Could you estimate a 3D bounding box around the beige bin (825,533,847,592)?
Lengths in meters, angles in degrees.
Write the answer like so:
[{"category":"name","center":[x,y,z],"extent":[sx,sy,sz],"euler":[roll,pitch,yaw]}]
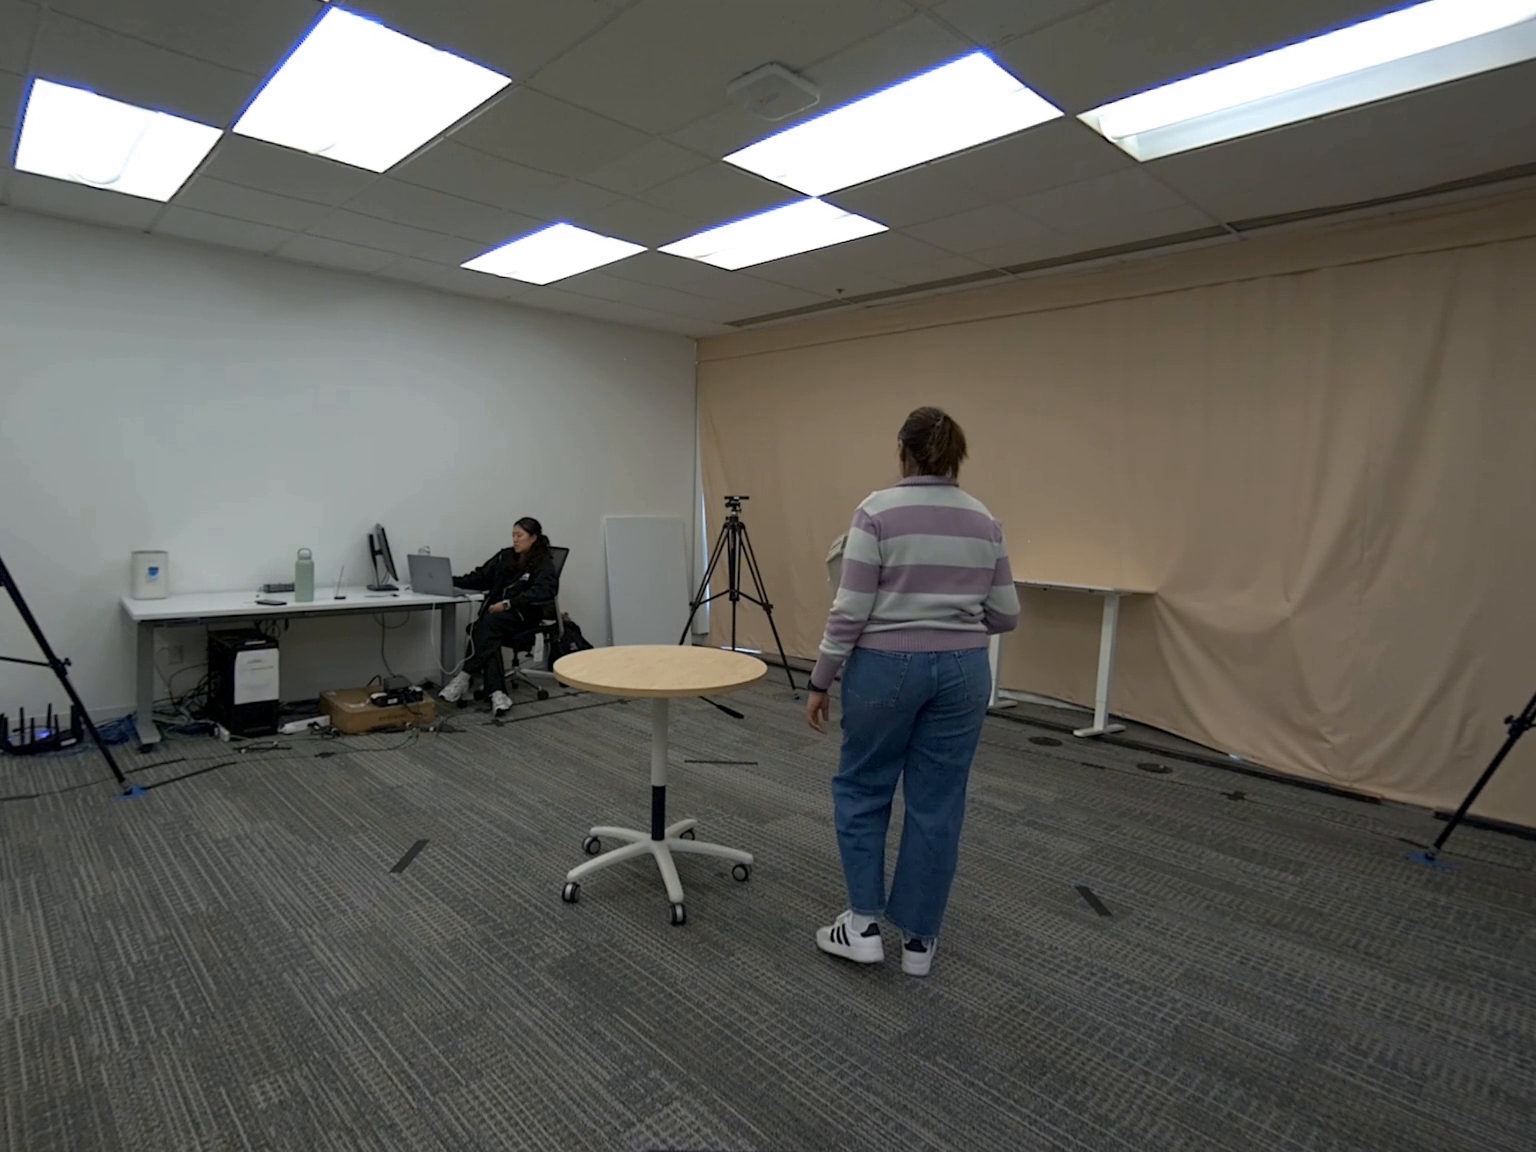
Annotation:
[{"category":"beige bin","center":[0.372,0.024,2.934],"extent":[0.189,0.377,0.422],"euler":[-40,1,13]}]
